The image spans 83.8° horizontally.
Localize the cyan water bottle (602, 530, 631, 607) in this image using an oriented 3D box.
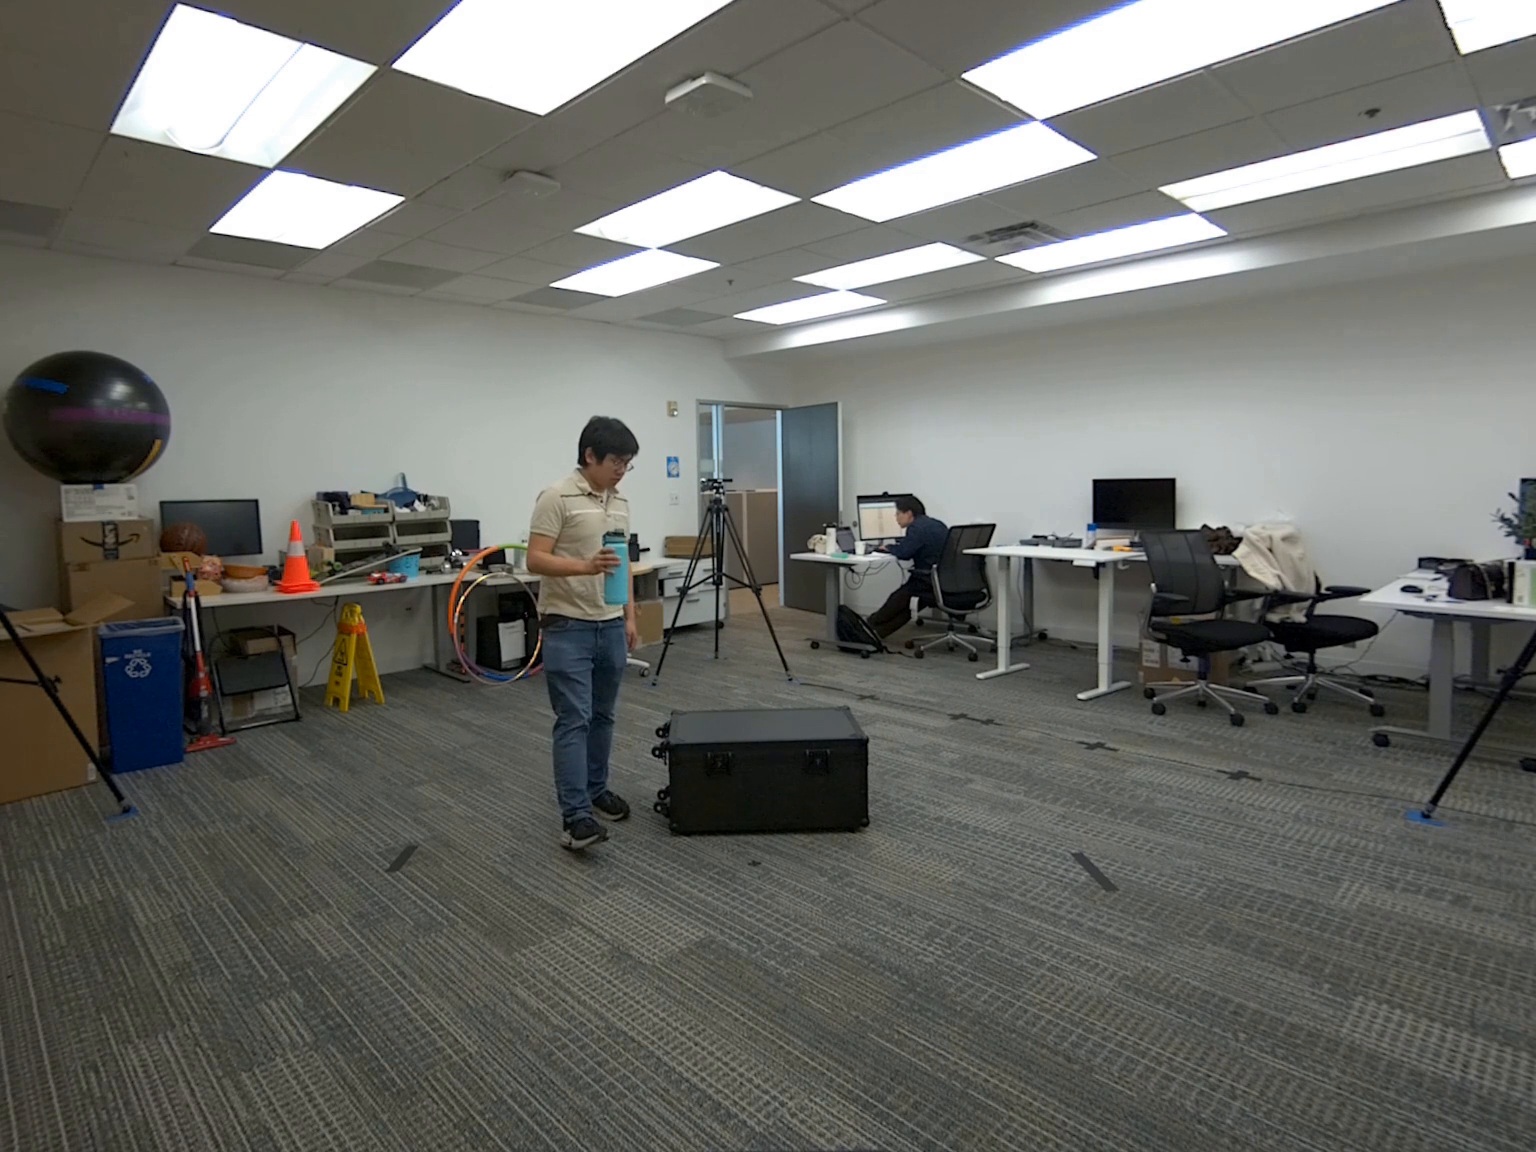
[{"bbox_3d":[-0.568,-0.039,3.195,0.092,0.283,0.092,-2,1,-2],"label":"cyan water bottle"}]
